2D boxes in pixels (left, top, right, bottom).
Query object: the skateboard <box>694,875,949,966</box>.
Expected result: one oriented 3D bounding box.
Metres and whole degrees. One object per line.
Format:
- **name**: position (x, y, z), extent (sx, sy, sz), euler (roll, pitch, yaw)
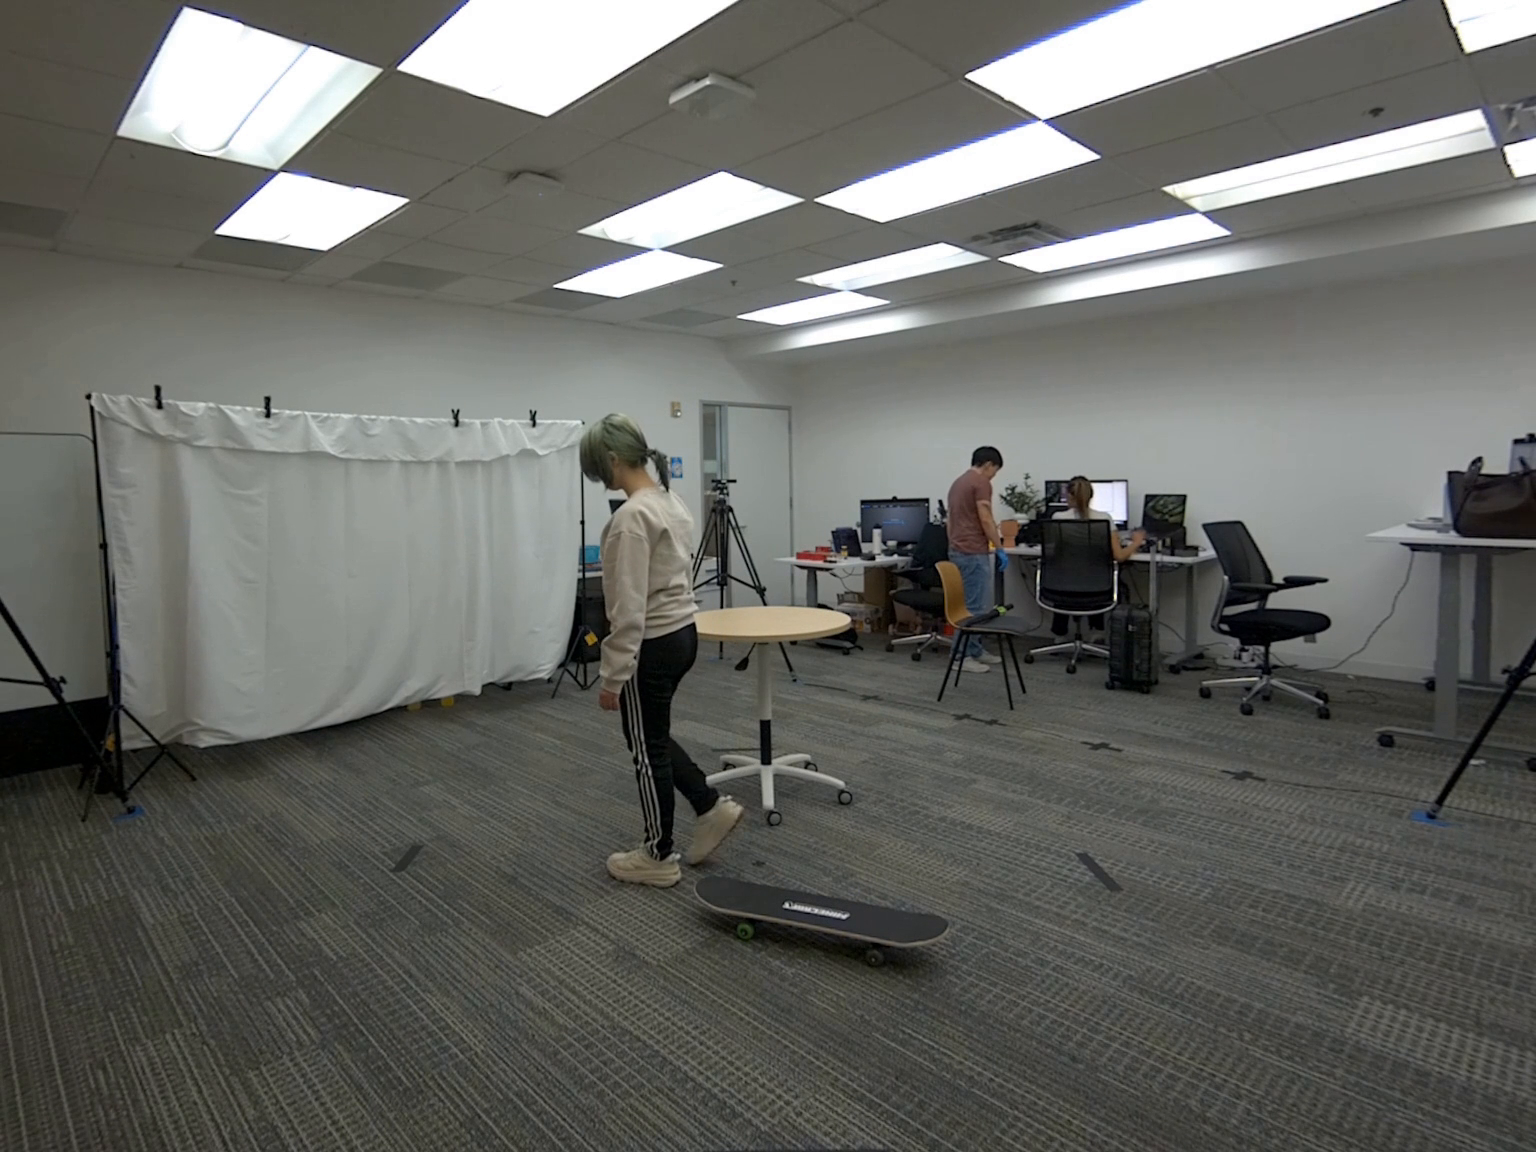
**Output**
- **skateboard**: position (0.157, 1.052, 2.579), extent (0.802, 0.110, 0.190), euler (1, 7, 22)
